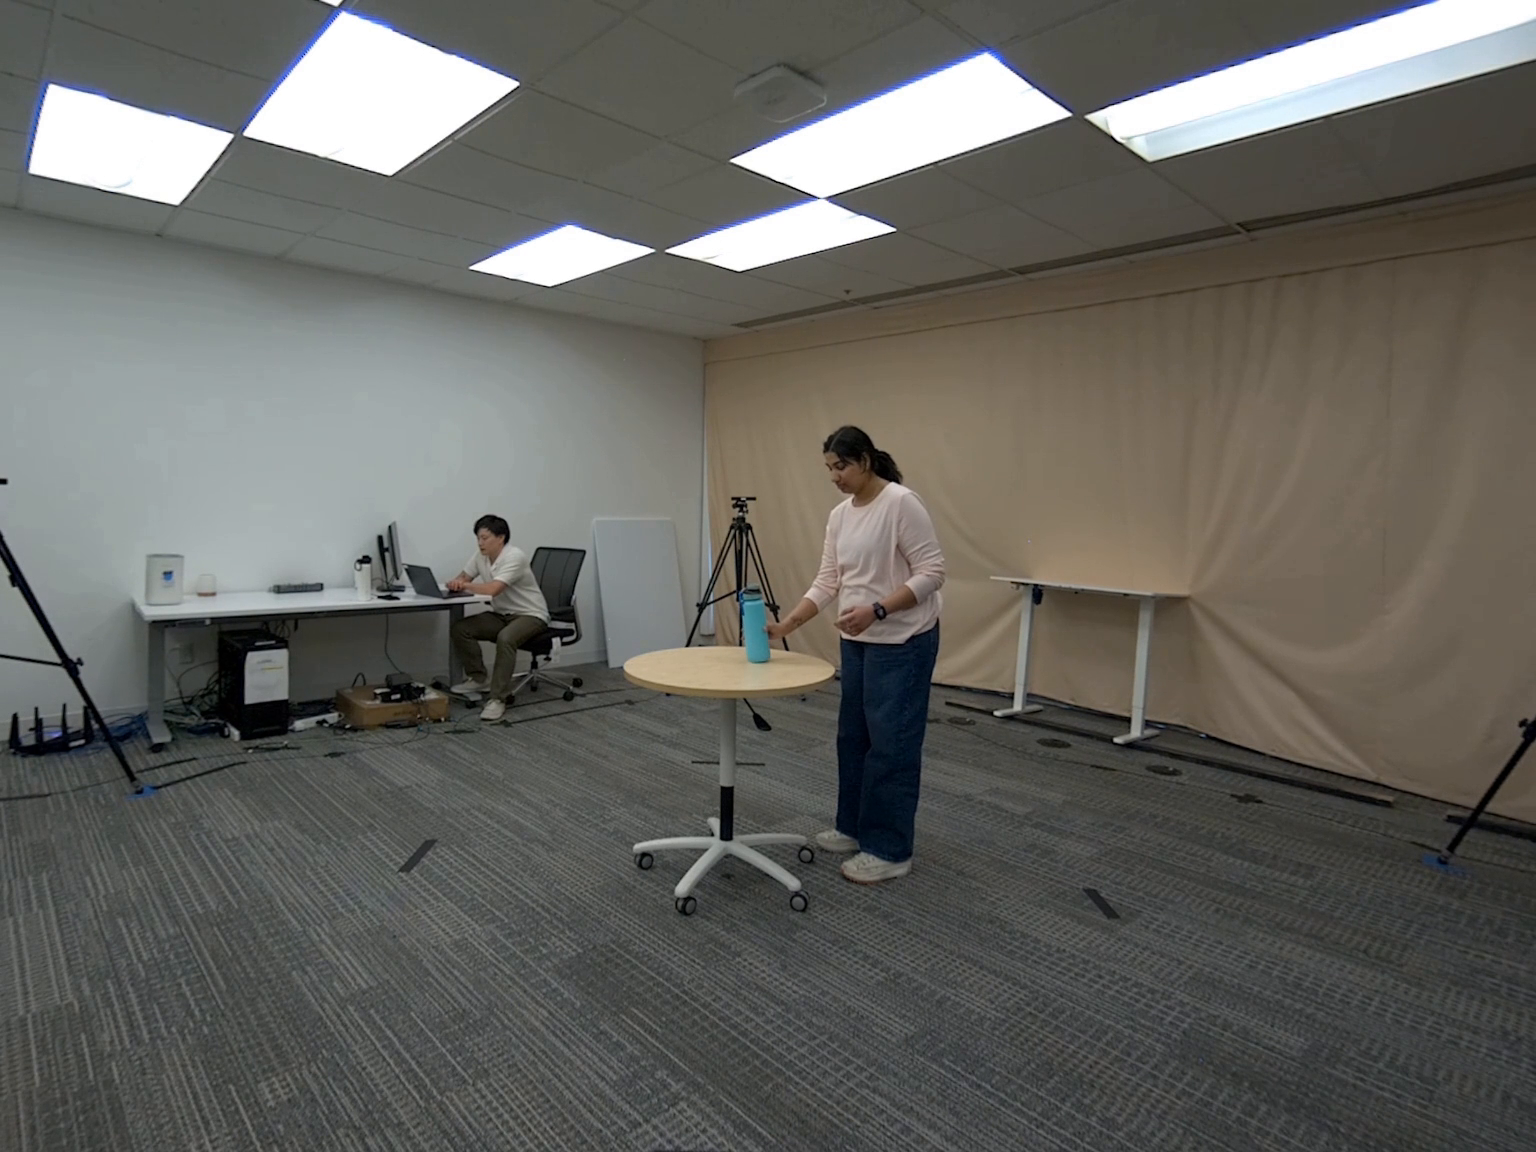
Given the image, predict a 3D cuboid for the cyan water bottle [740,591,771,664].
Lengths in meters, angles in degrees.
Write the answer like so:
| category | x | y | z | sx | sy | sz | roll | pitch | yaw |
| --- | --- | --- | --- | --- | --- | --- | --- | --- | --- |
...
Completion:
| category | x | y | z | sx | sy | sz | roll | pitch | yaw |
| --- | --- | --- | --- | --- | --- | --- | --- | --- | --- |
| cyan water bottle | -0.054 | 0.177 | 3.151 | 0.092 | 0.282 | 0.092 | -6 | 4 | -1 |
